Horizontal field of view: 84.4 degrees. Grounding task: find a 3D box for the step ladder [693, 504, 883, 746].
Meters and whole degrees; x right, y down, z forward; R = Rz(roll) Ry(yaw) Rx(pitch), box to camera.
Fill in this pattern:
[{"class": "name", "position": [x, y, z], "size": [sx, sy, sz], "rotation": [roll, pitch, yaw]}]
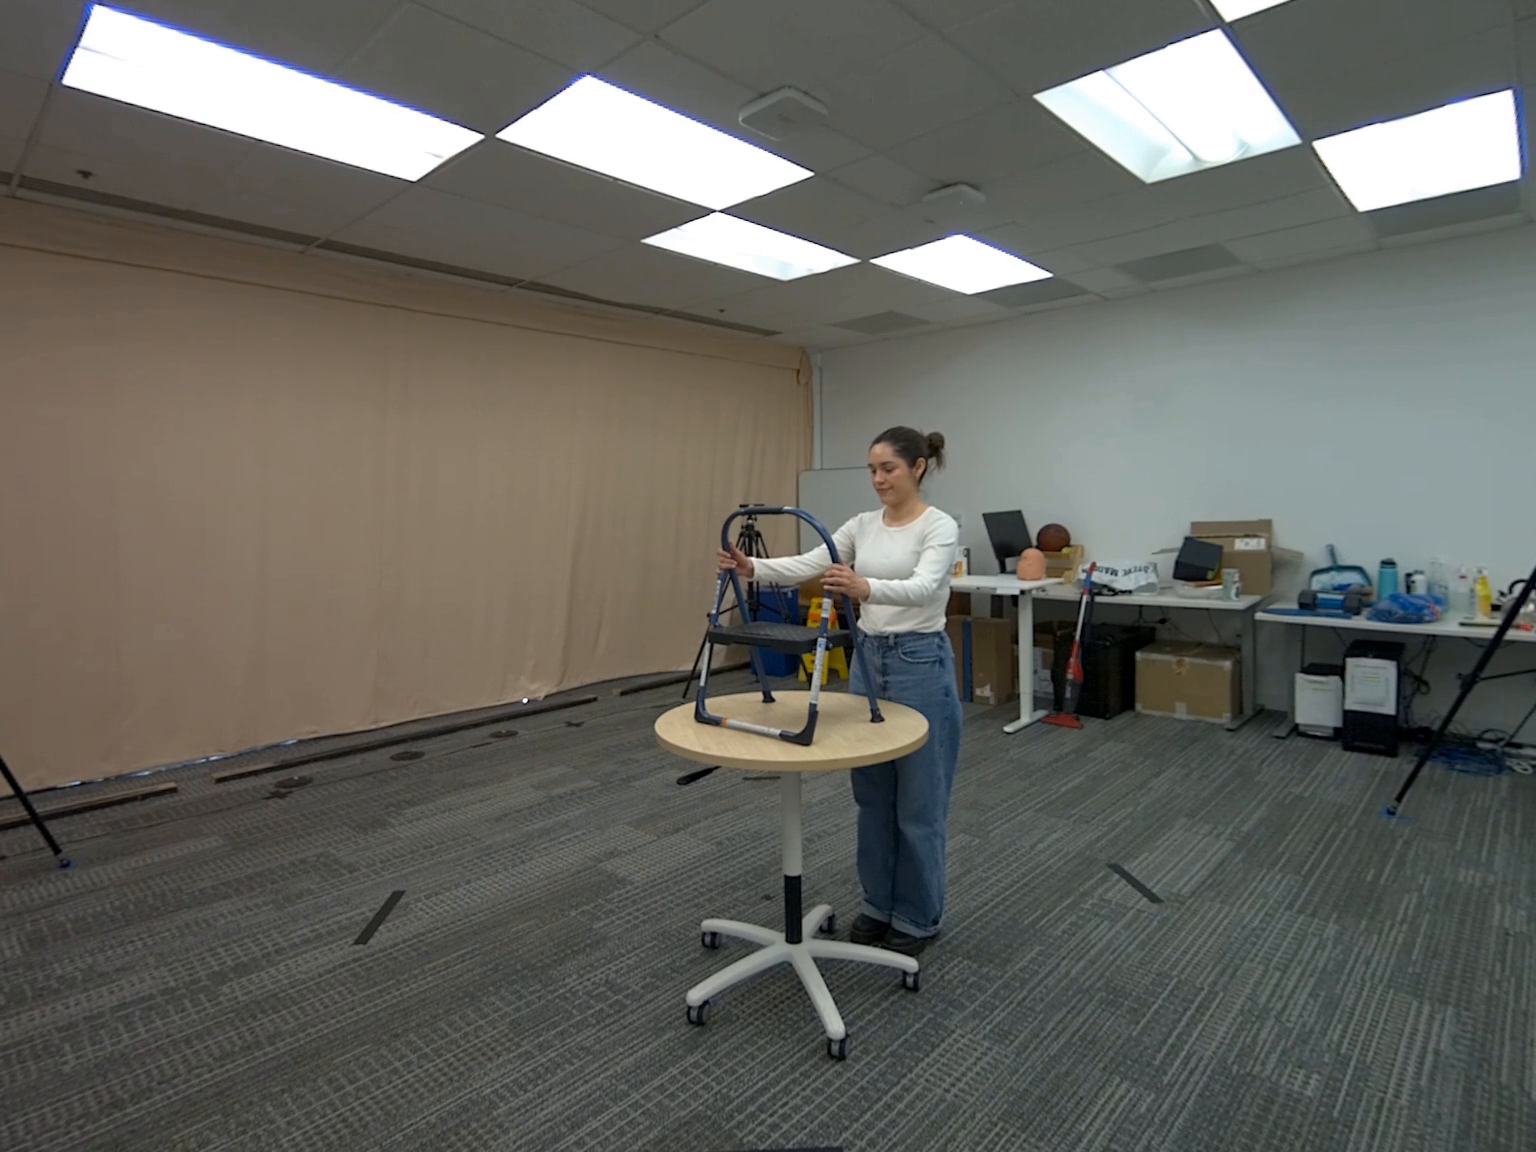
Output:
[{"class": "step ladder", "position": [0.052, 0.107, 2.368], "size": [0.444, 0.605, 0.339], "rotation": [1, 3, 41]}]
